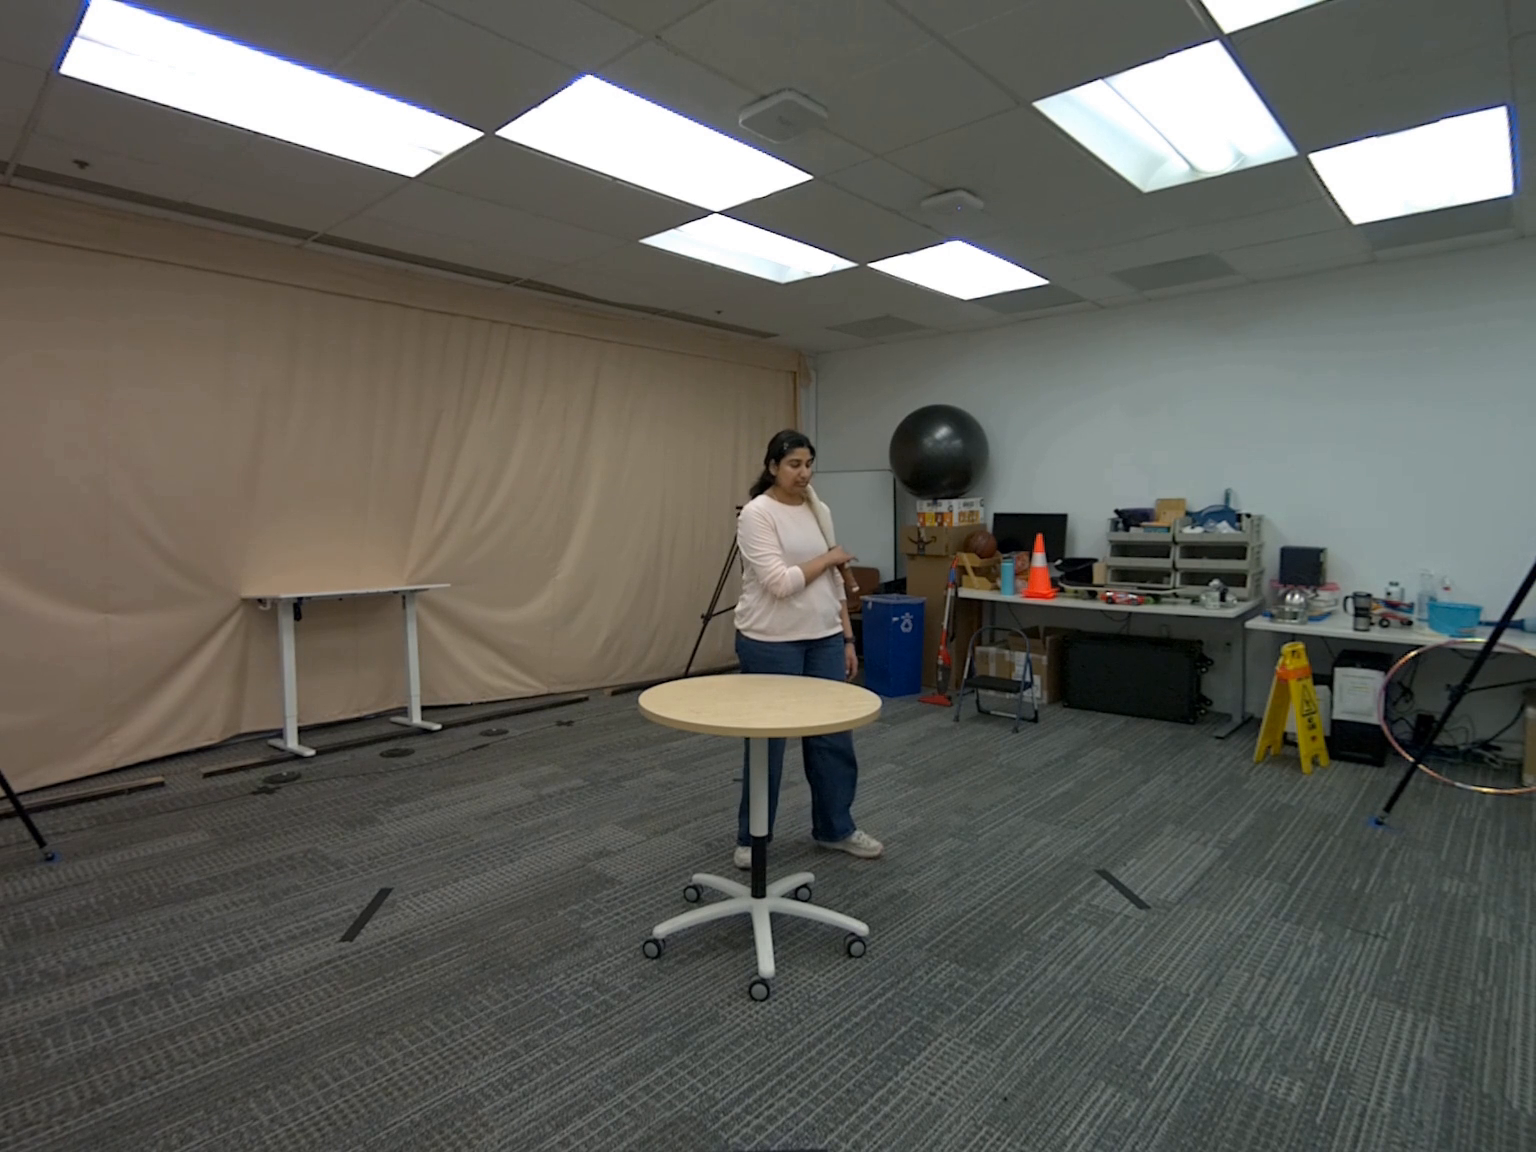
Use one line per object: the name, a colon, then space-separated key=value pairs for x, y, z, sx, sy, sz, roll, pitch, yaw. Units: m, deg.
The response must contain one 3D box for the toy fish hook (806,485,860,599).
toy fish hook: x=0.237 y=-0.146 z=3.413 sx=0.048 sy=0.510 sz=0.225 roll=-21 pitch=-7 yaw=-13
